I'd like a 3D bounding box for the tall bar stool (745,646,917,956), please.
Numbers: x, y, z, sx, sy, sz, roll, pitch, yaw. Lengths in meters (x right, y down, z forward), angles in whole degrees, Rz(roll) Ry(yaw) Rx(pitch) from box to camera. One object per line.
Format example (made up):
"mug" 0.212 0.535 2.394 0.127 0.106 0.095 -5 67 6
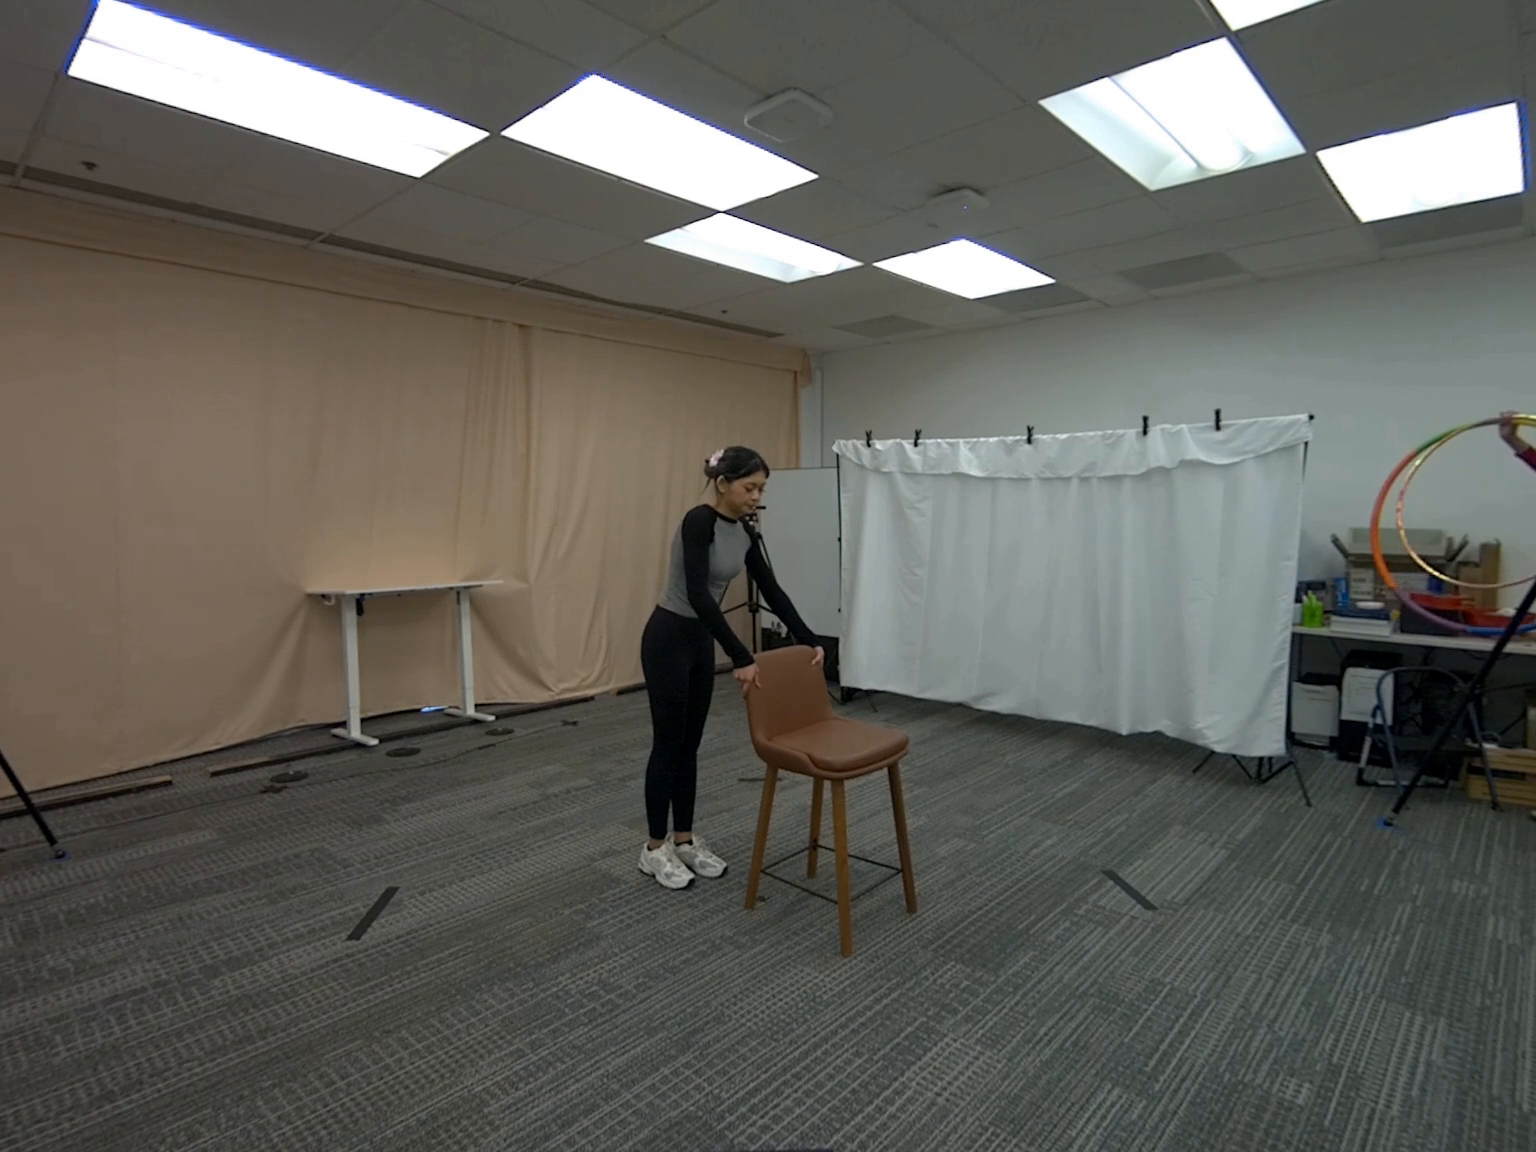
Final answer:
"tall bar stool" 0.206 0.715 2.874 0.483 0.889 0.442 0 3 43
